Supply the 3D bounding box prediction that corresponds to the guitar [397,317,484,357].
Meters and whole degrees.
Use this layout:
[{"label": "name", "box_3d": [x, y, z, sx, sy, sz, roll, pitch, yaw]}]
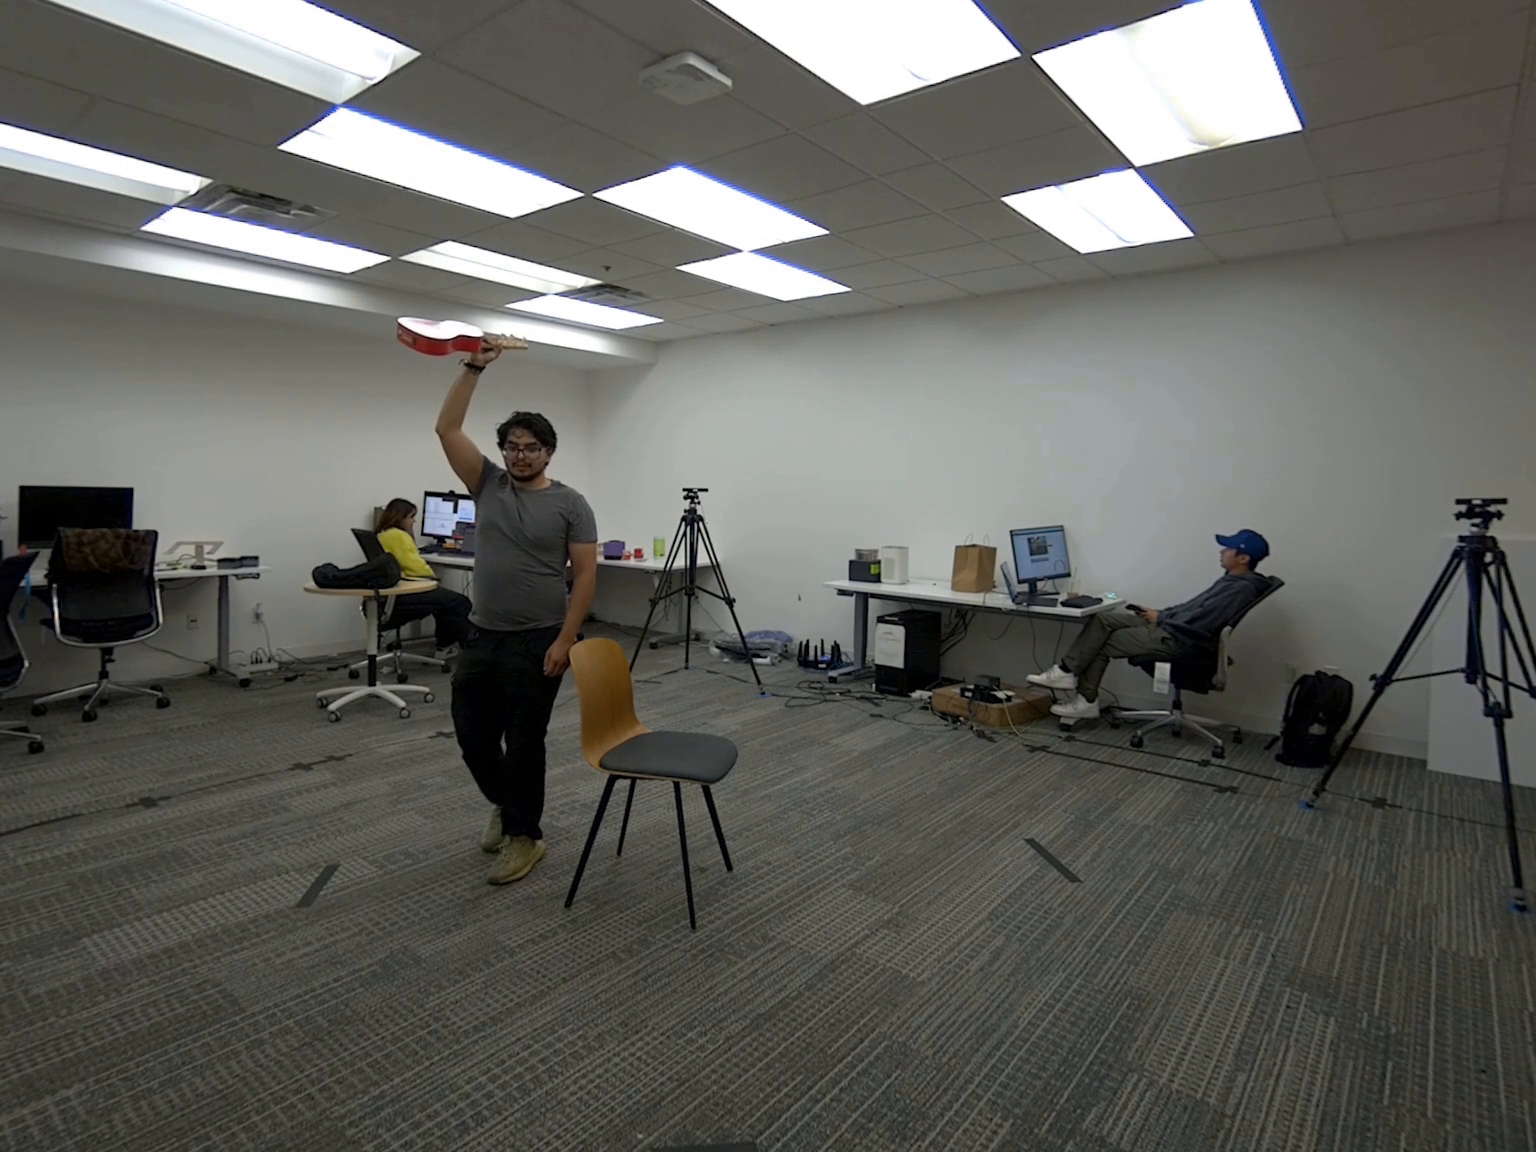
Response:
[{"label": "guitar", "box_3d": [-1.044, -0.816, 2.872, 0.197, 0.070, 0.492, 25, 25, 16]}]
